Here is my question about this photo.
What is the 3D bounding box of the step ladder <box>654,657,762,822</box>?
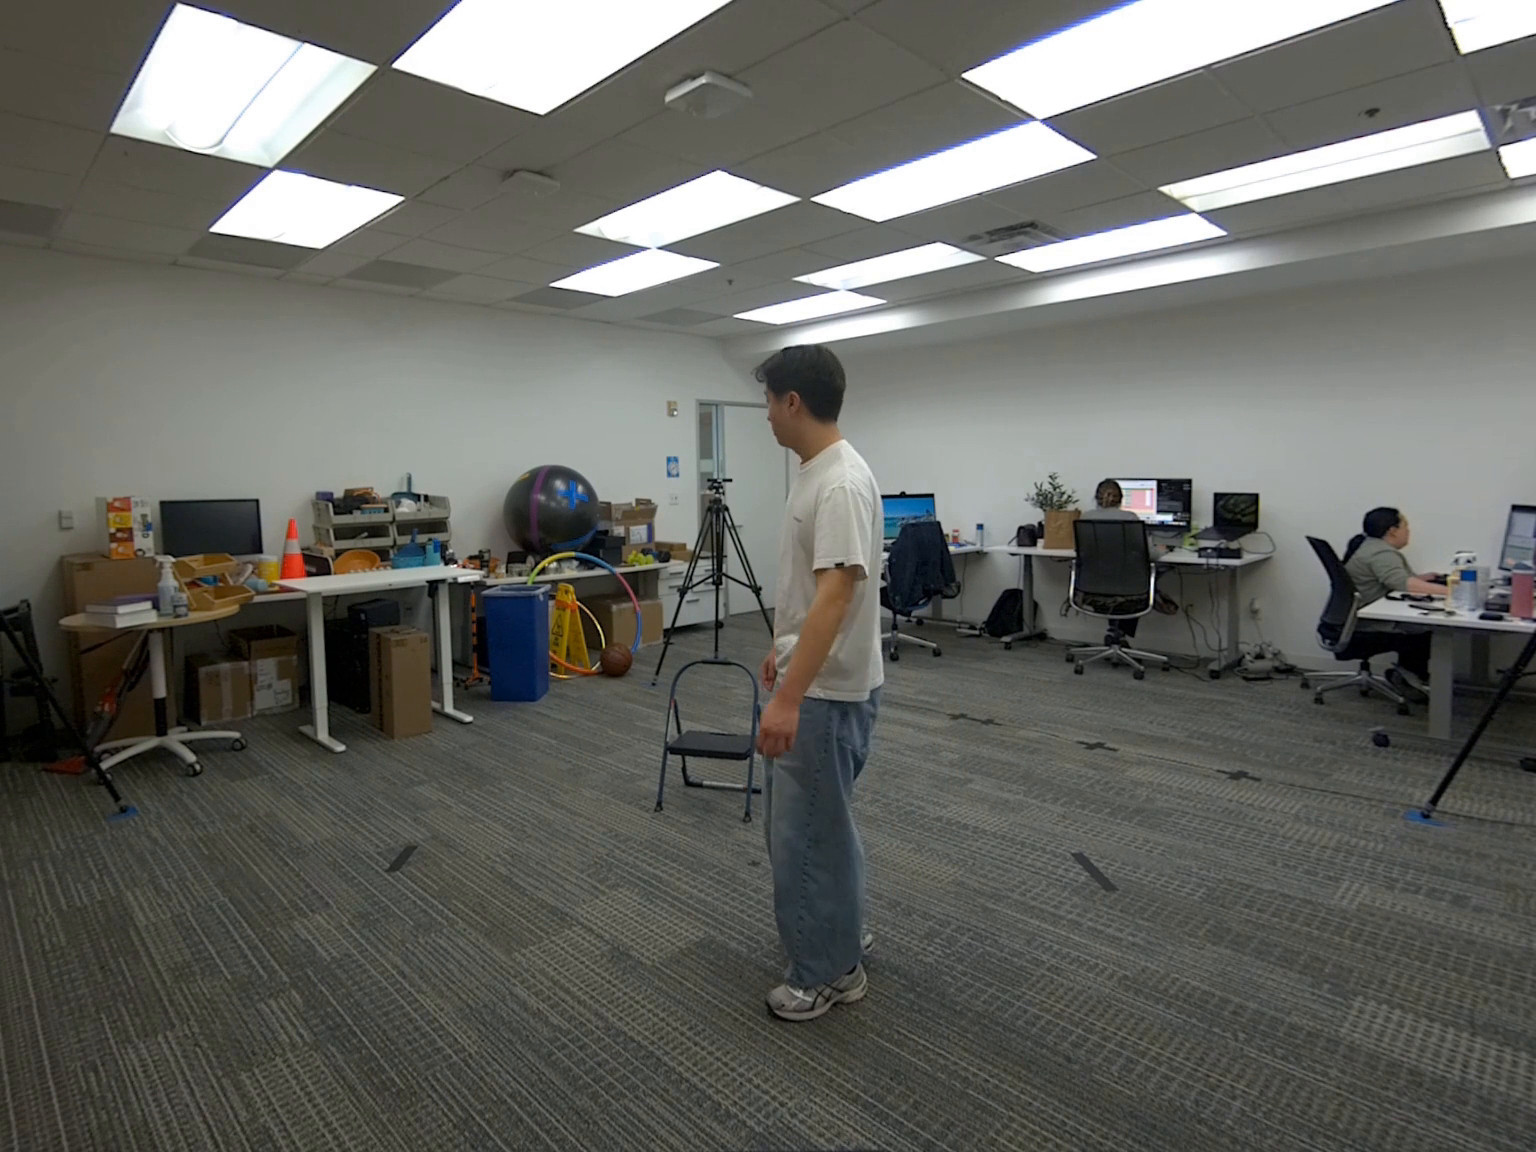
[{"bbox_3d":[-0.236,0.679,3.694,0.438,0.604,0.344,0,4,18],"label":"step ladder"}]
